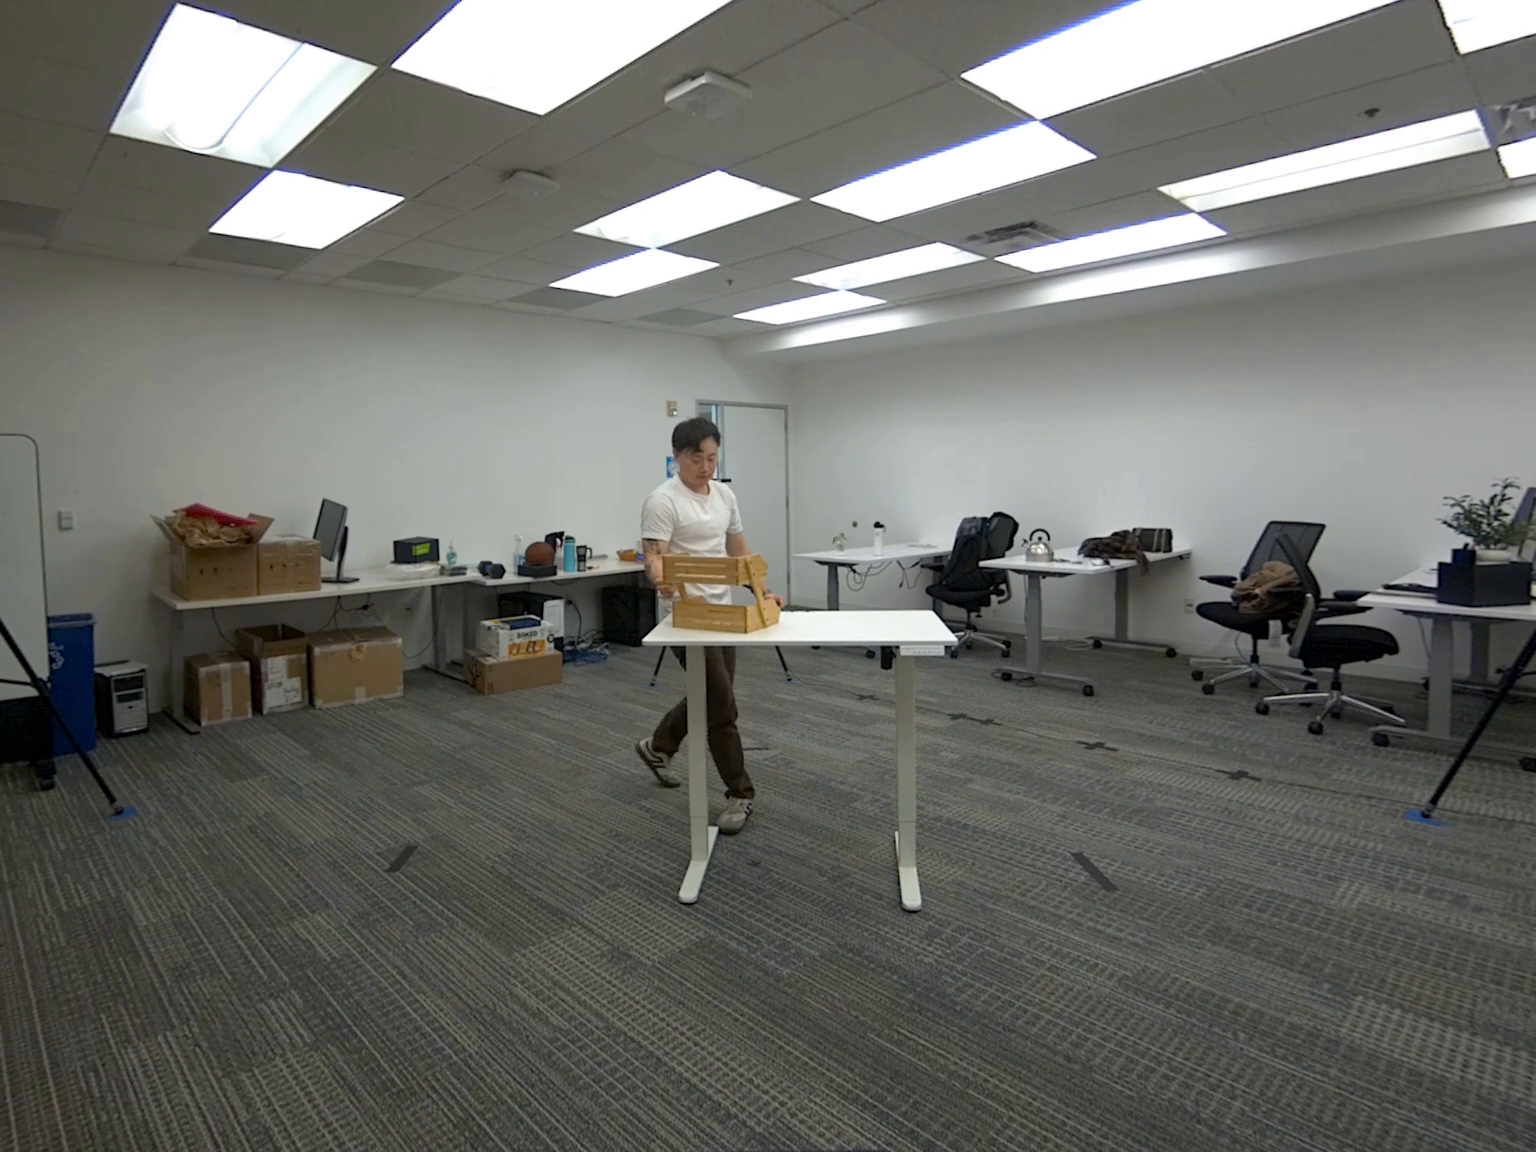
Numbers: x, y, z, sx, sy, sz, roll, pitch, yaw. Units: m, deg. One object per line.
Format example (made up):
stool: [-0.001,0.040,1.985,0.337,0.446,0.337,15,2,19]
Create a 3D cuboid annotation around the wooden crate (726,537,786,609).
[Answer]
wooden crate: [-0.152,0.046,3.007,0.333,0.272,0.296,2,6,29]
